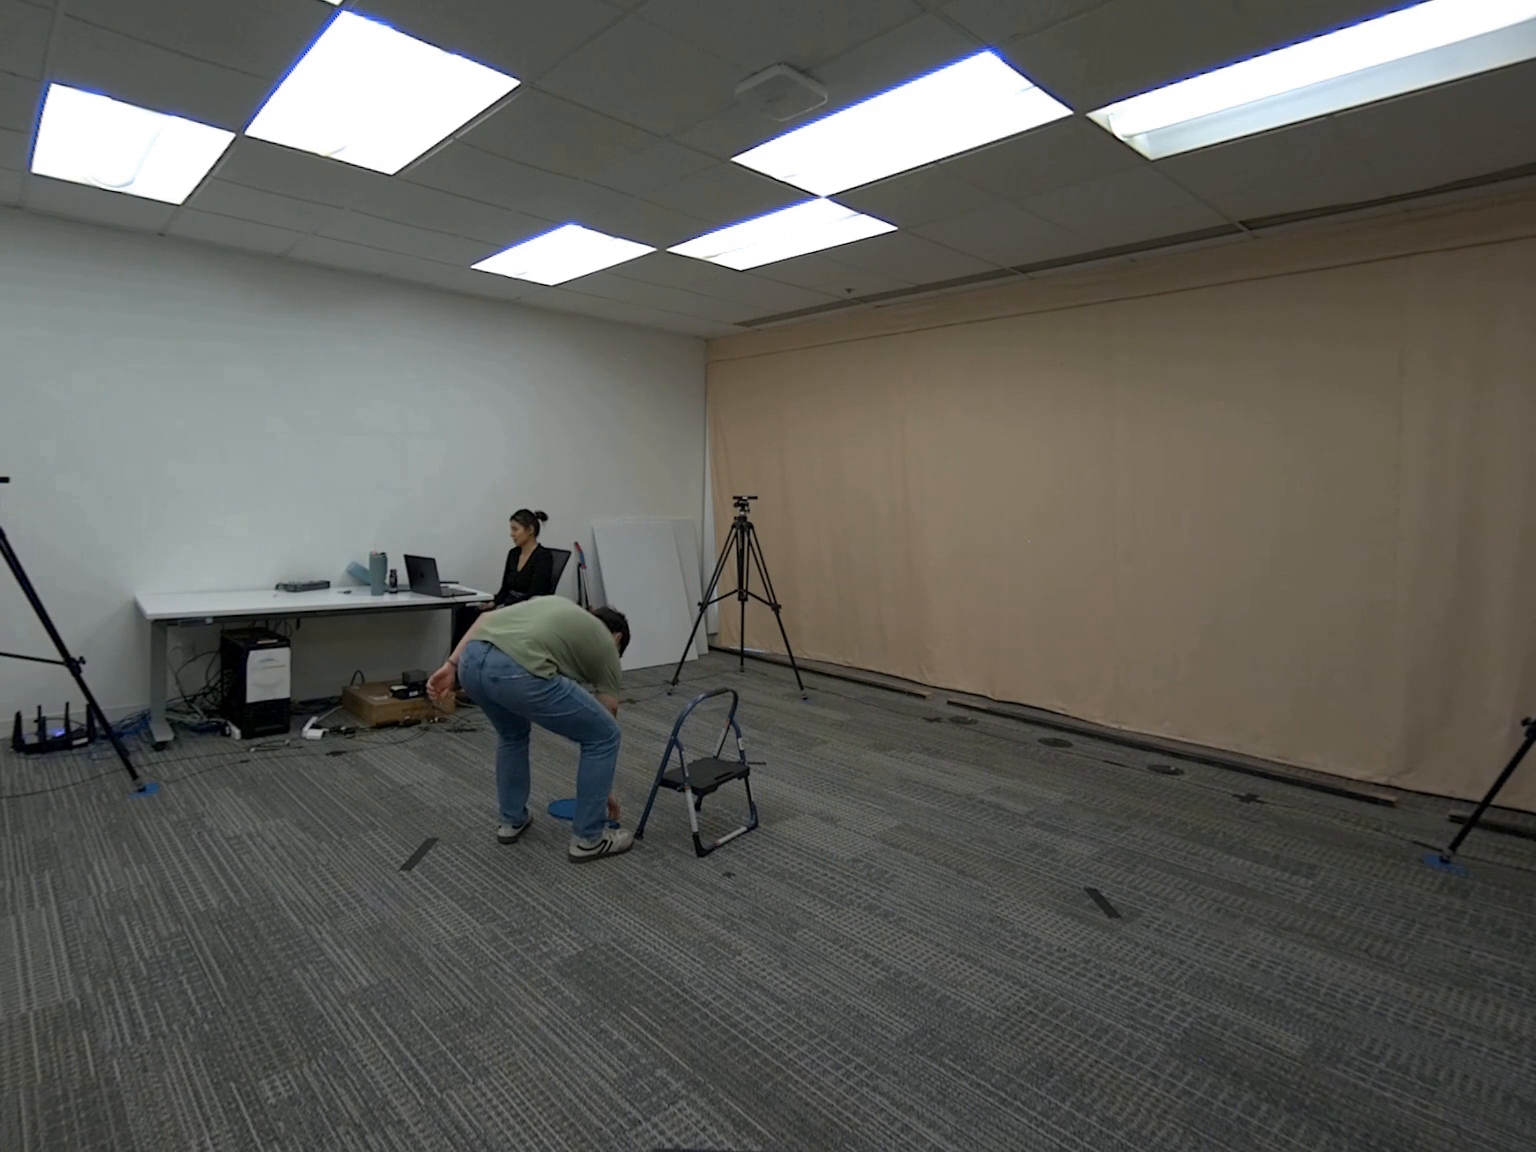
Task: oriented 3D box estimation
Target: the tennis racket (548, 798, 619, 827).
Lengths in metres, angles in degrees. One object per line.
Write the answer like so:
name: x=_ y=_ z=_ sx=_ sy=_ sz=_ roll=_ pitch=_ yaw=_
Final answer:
tennis racket: x=-0.791 y=1.012 z=3.622 sx=0.209 sy=0.032 sz=0.444 roll=-4 pitch=6 yaw=-44
